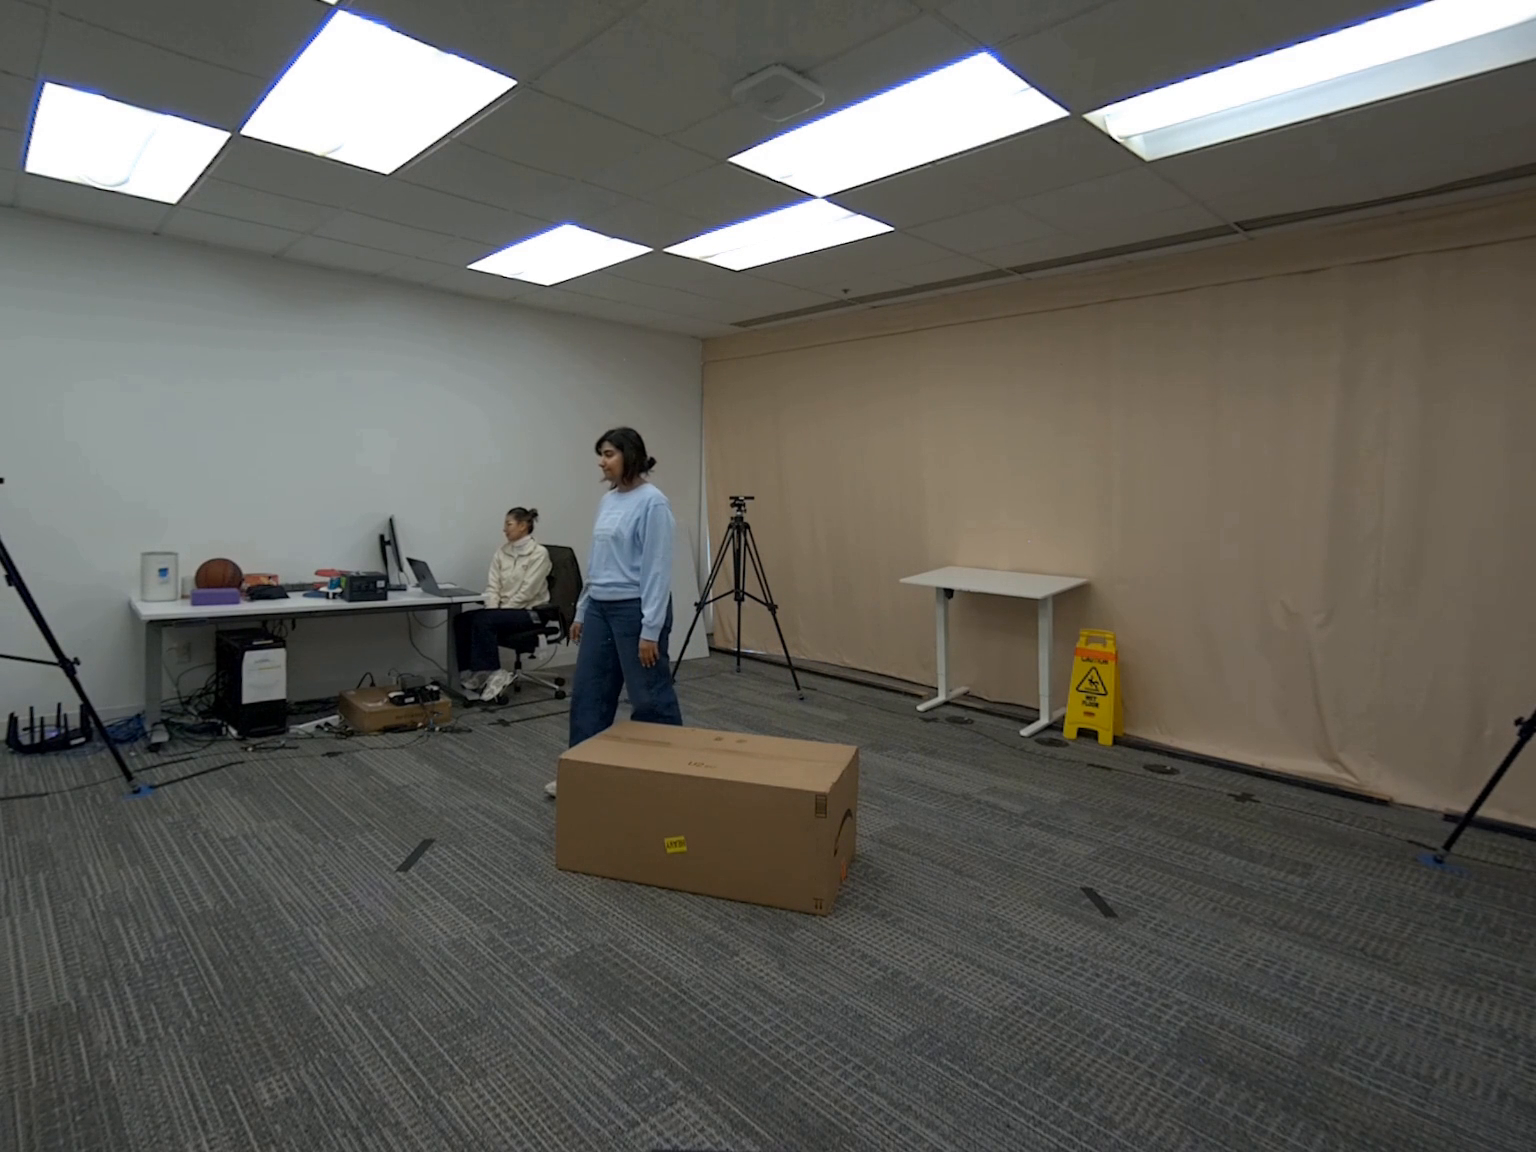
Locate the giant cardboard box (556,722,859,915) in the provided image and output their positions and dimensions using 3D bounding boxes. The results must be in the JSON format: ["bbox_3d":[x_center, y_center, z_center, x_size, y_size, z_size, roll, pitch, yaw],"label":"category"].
[{"bbox_3d":[-0.214,0.877,3.212,1.041,0.425,0.571,2,4,18],"label":"giant cardboard box"}]
